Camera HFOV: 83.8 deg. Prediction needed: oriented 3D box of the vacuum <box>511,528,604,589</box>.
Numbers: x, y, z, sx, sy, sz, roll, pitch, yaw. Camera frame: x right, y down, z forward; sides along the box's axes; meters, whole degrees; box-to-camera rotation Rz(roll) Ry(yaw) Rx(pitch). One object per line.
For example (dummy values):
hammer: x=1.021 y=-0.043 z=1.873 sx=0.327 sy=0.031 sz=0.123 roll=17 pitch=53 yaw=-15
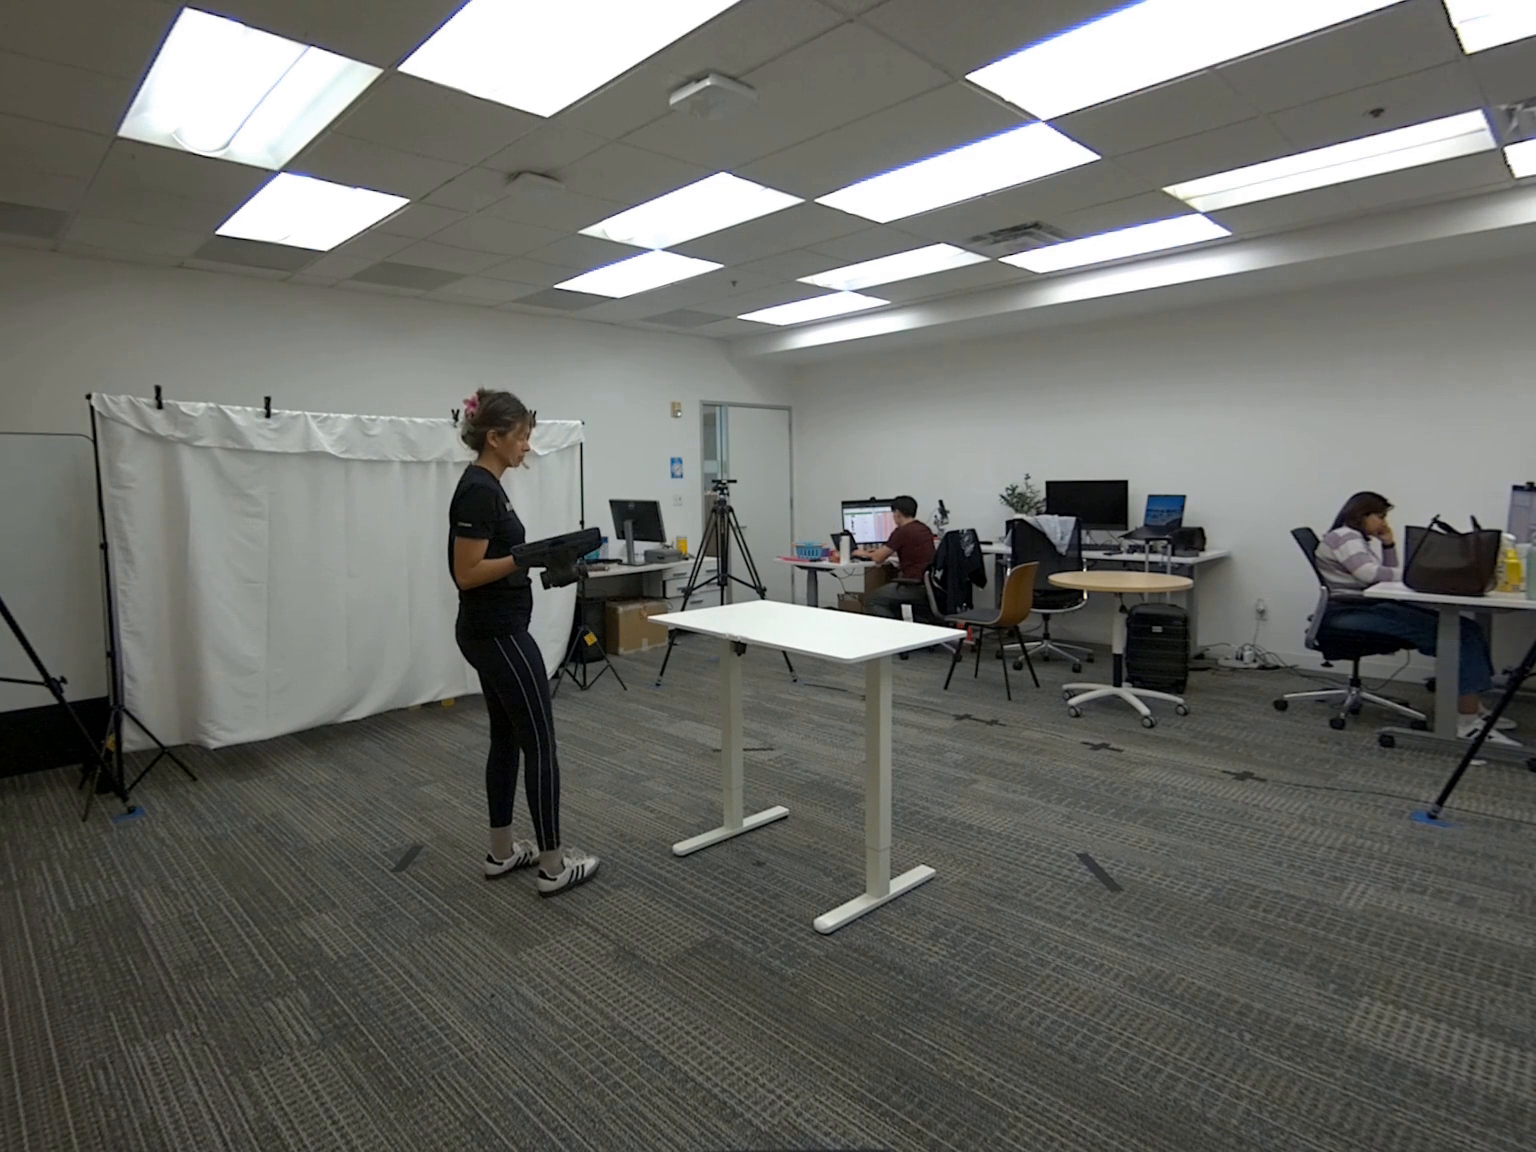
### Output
vacuum: x=-0.677 y=-0.041 z=2.914 sx=0.251 sy=0.144 sz=1.058 roll=-14 pitch=3 yaw=-10
